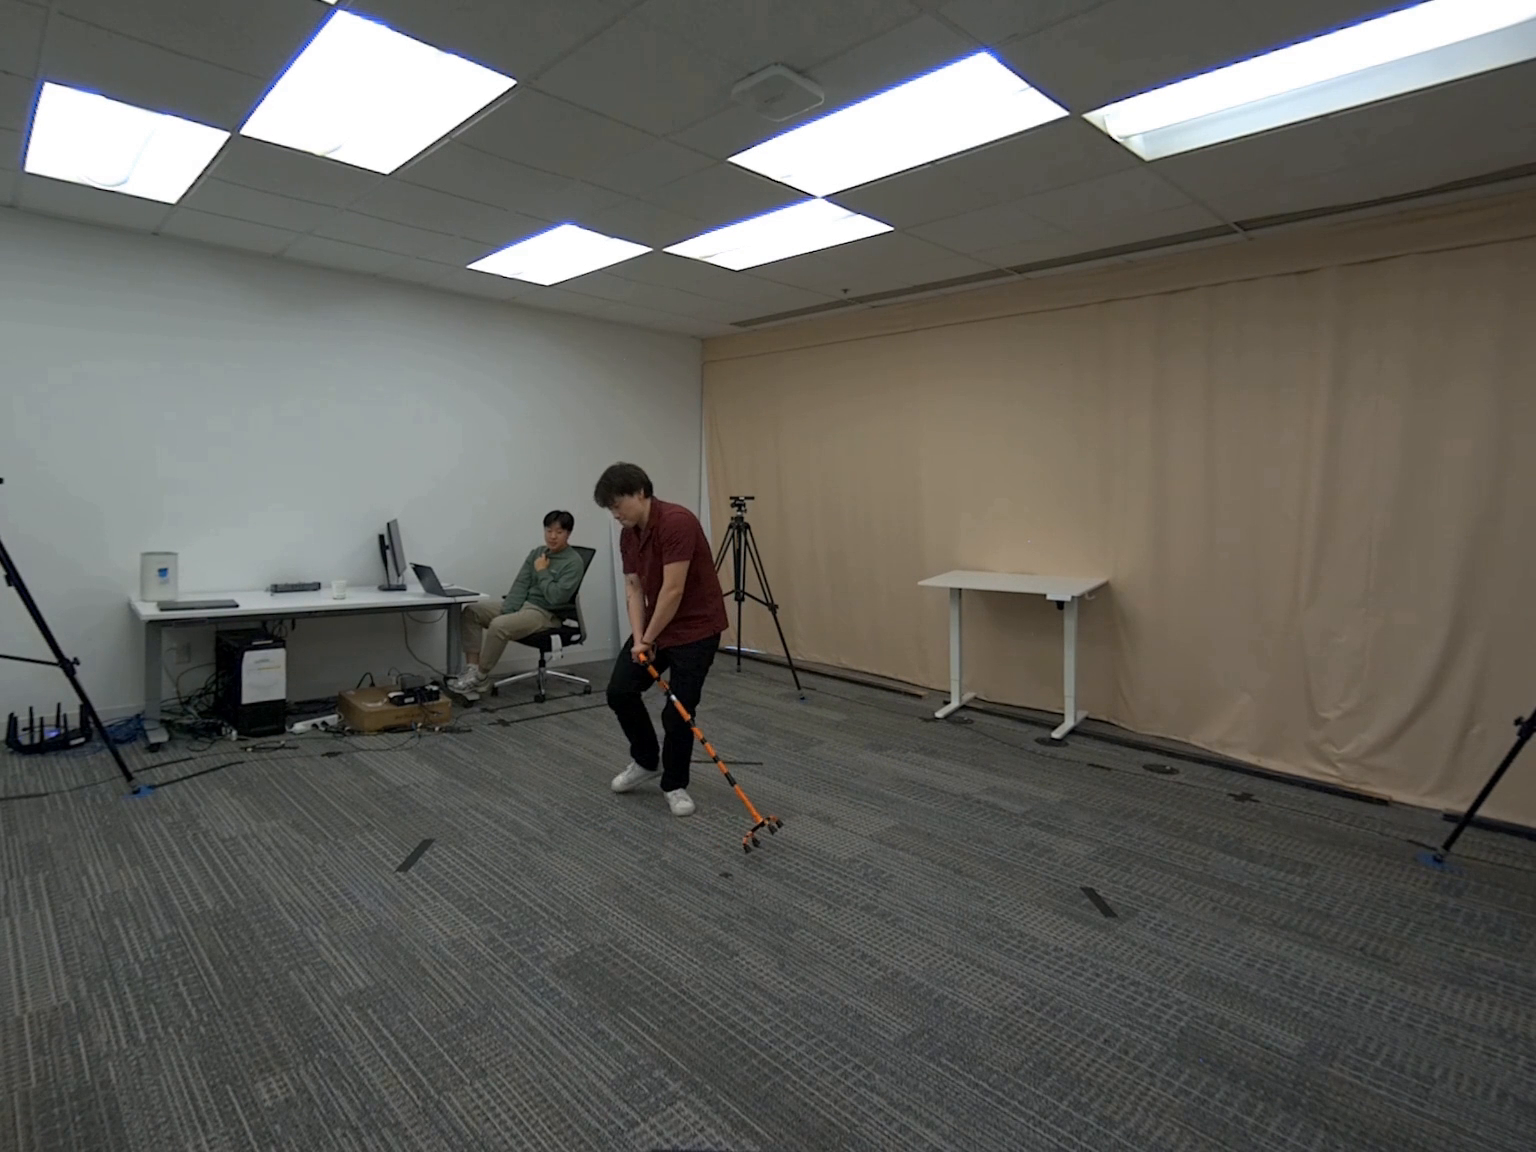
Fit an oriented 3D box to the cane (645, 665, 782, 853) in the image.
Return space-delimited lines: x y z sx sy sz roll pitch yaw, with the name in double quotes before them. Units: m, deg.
"cane" -0.279 0.687 3.409 0.151 0.924 0.203 -39 -16 3
